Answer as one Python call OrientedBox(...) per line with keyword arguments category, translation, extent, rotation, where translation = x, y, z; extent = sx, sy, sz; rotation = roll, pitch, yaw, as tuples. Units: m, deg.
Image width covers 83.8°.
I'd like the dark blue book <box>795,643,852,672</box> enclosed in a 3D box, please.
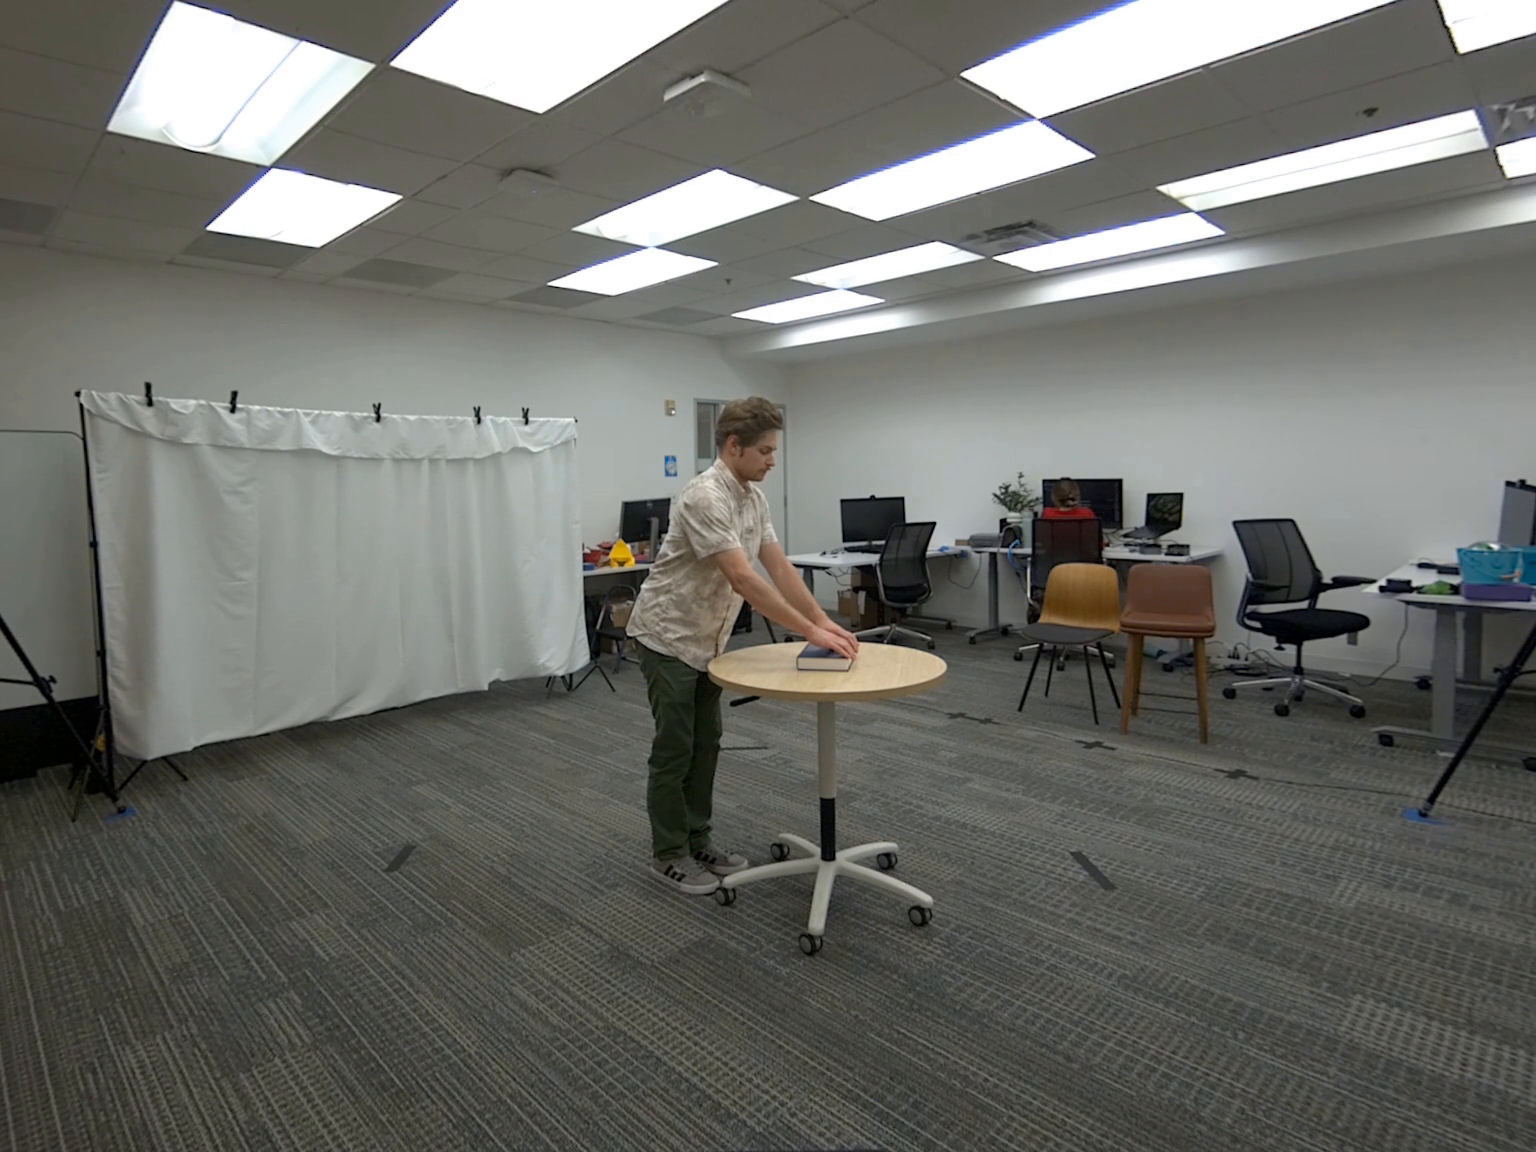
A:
OrientedBox(category="dark blue book", translation=(0.199, 0.262, 2.773), extent=(0.165, 0.045, 0.243), rotation=(0, 6, 12))
